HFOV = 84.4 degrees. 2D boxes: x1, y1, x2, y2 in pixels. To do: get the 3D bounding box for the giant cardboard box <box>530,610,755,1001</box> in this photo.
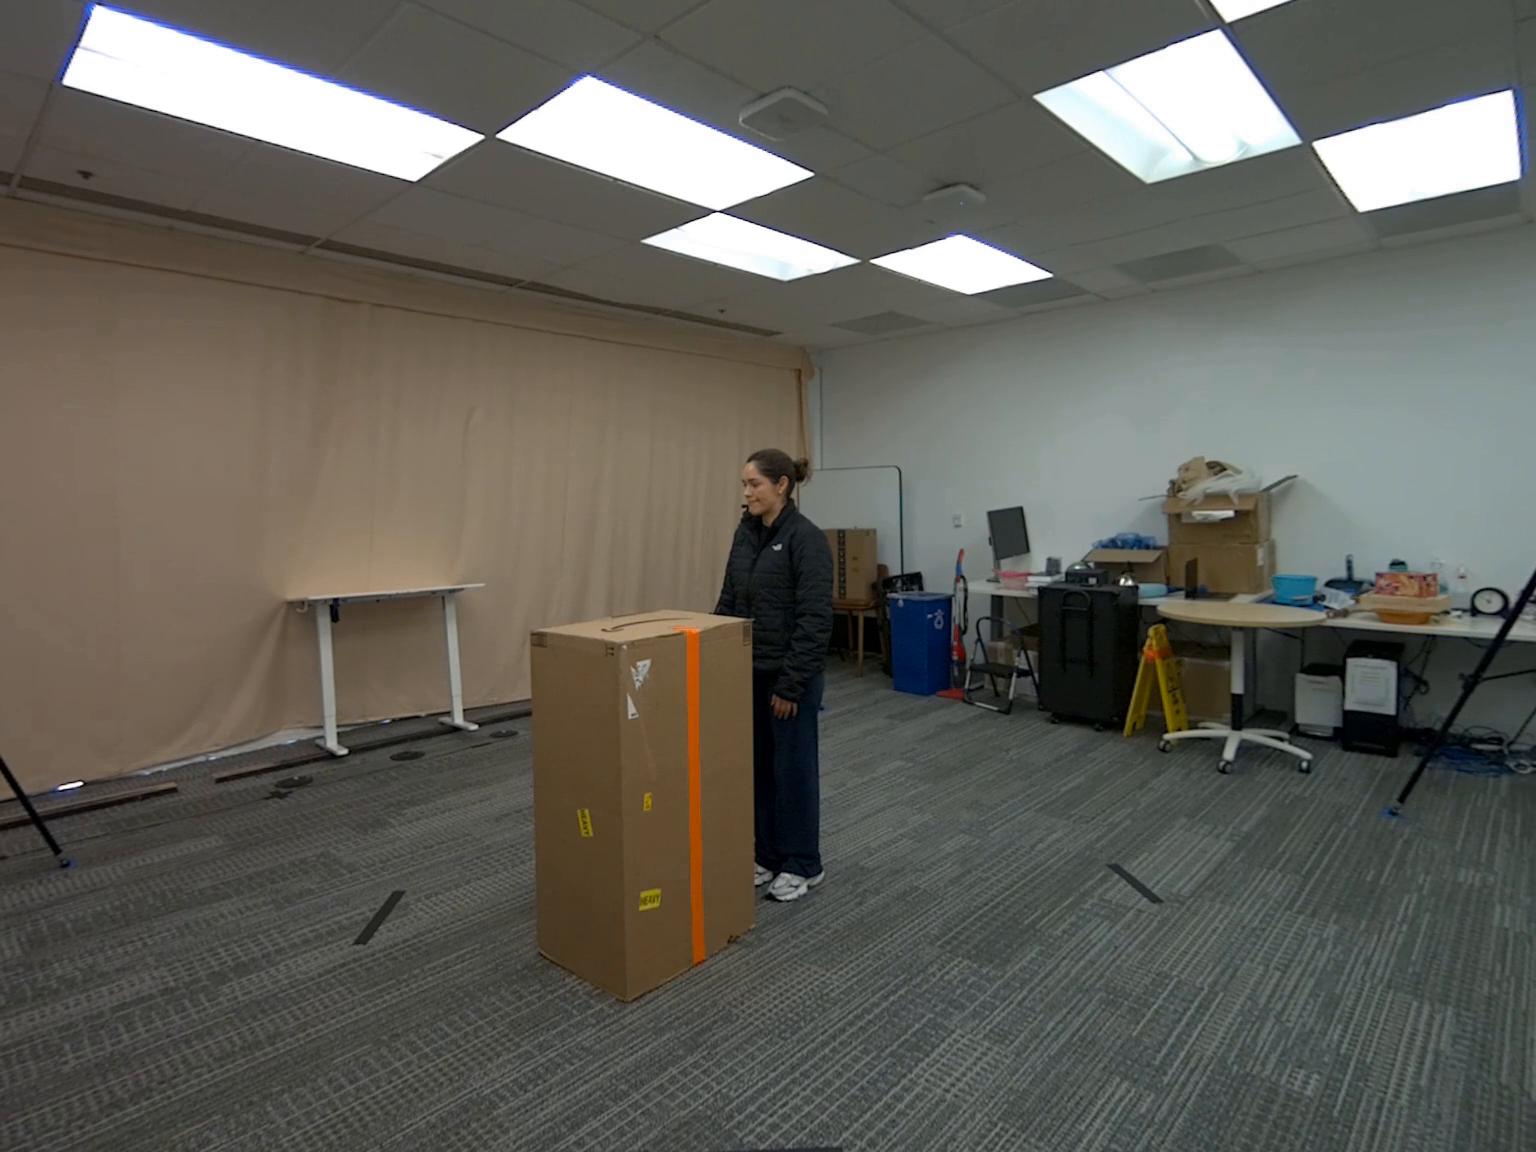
[{"bbox_3d":[-0.374,0.666,2.683,0.440,1.024,0.560,2,4,41],"label":"giant cardboard box"}]
